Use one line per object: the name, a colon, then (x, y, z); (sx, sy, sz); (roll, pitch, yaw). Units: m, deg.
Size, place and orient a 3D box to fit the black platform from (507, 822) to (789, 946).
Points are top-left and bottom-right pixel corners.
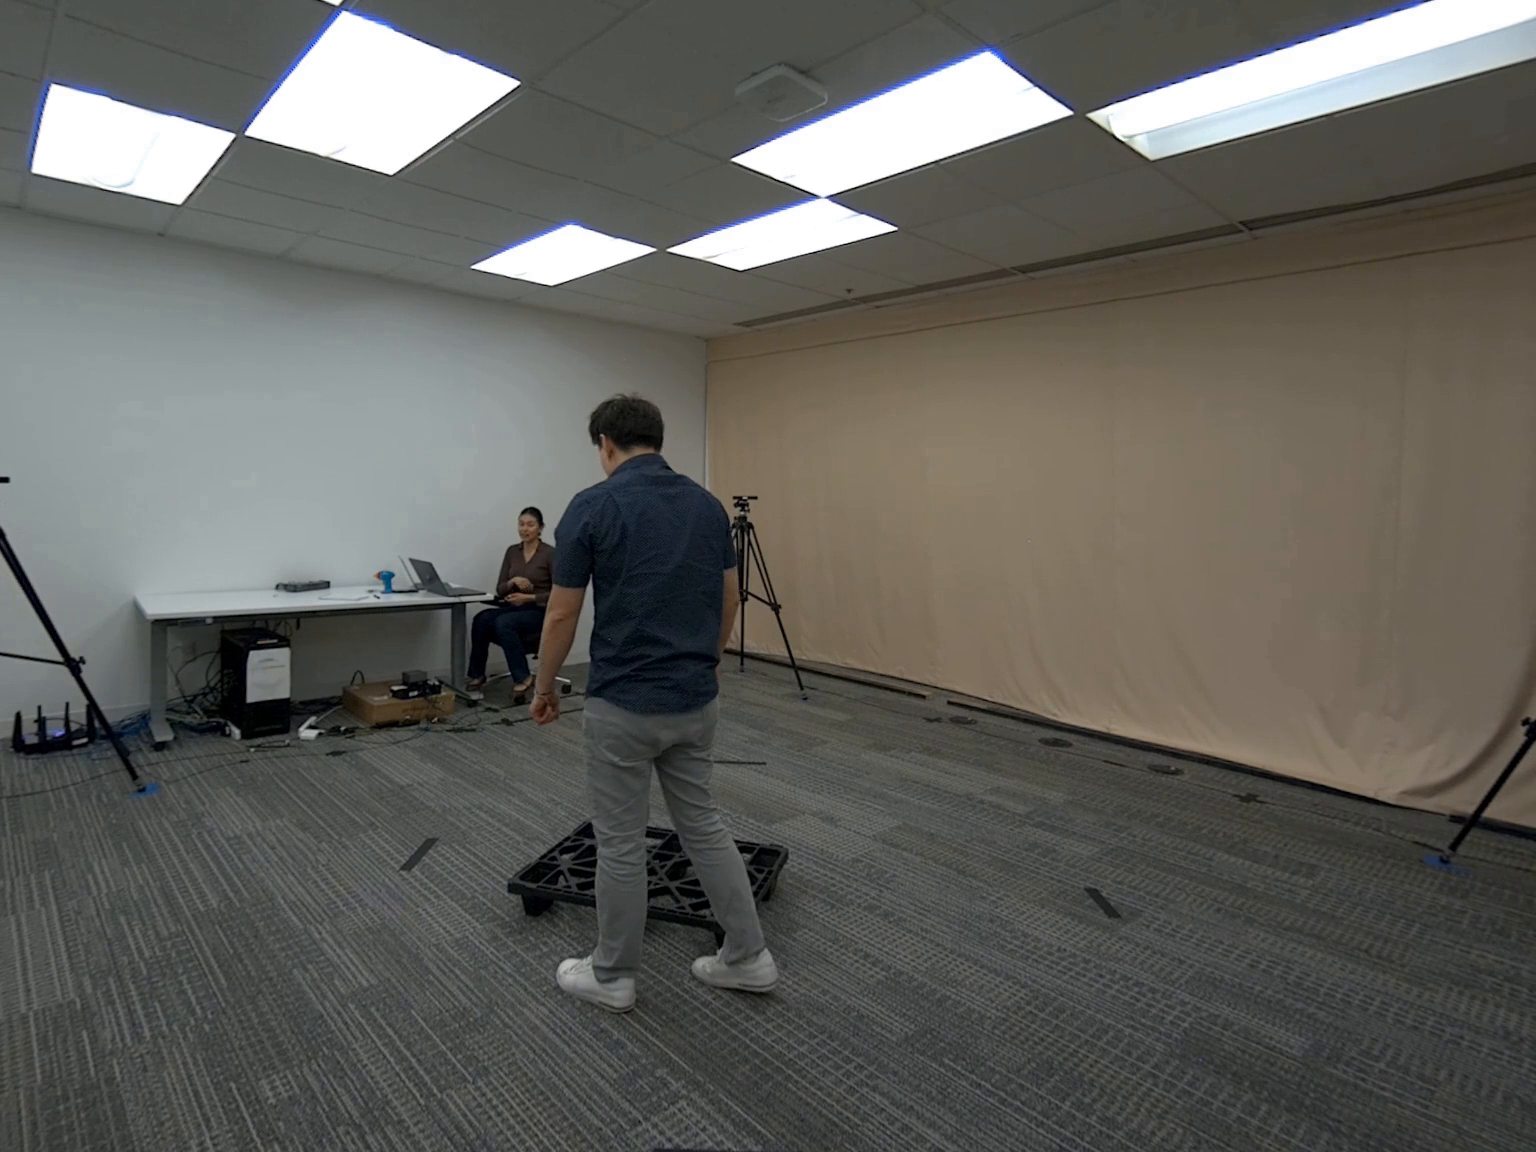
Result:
black platform: (-0.388, 1.051, 2.878); (0.817, 0.143, 0.599); (3, 6, 17)
